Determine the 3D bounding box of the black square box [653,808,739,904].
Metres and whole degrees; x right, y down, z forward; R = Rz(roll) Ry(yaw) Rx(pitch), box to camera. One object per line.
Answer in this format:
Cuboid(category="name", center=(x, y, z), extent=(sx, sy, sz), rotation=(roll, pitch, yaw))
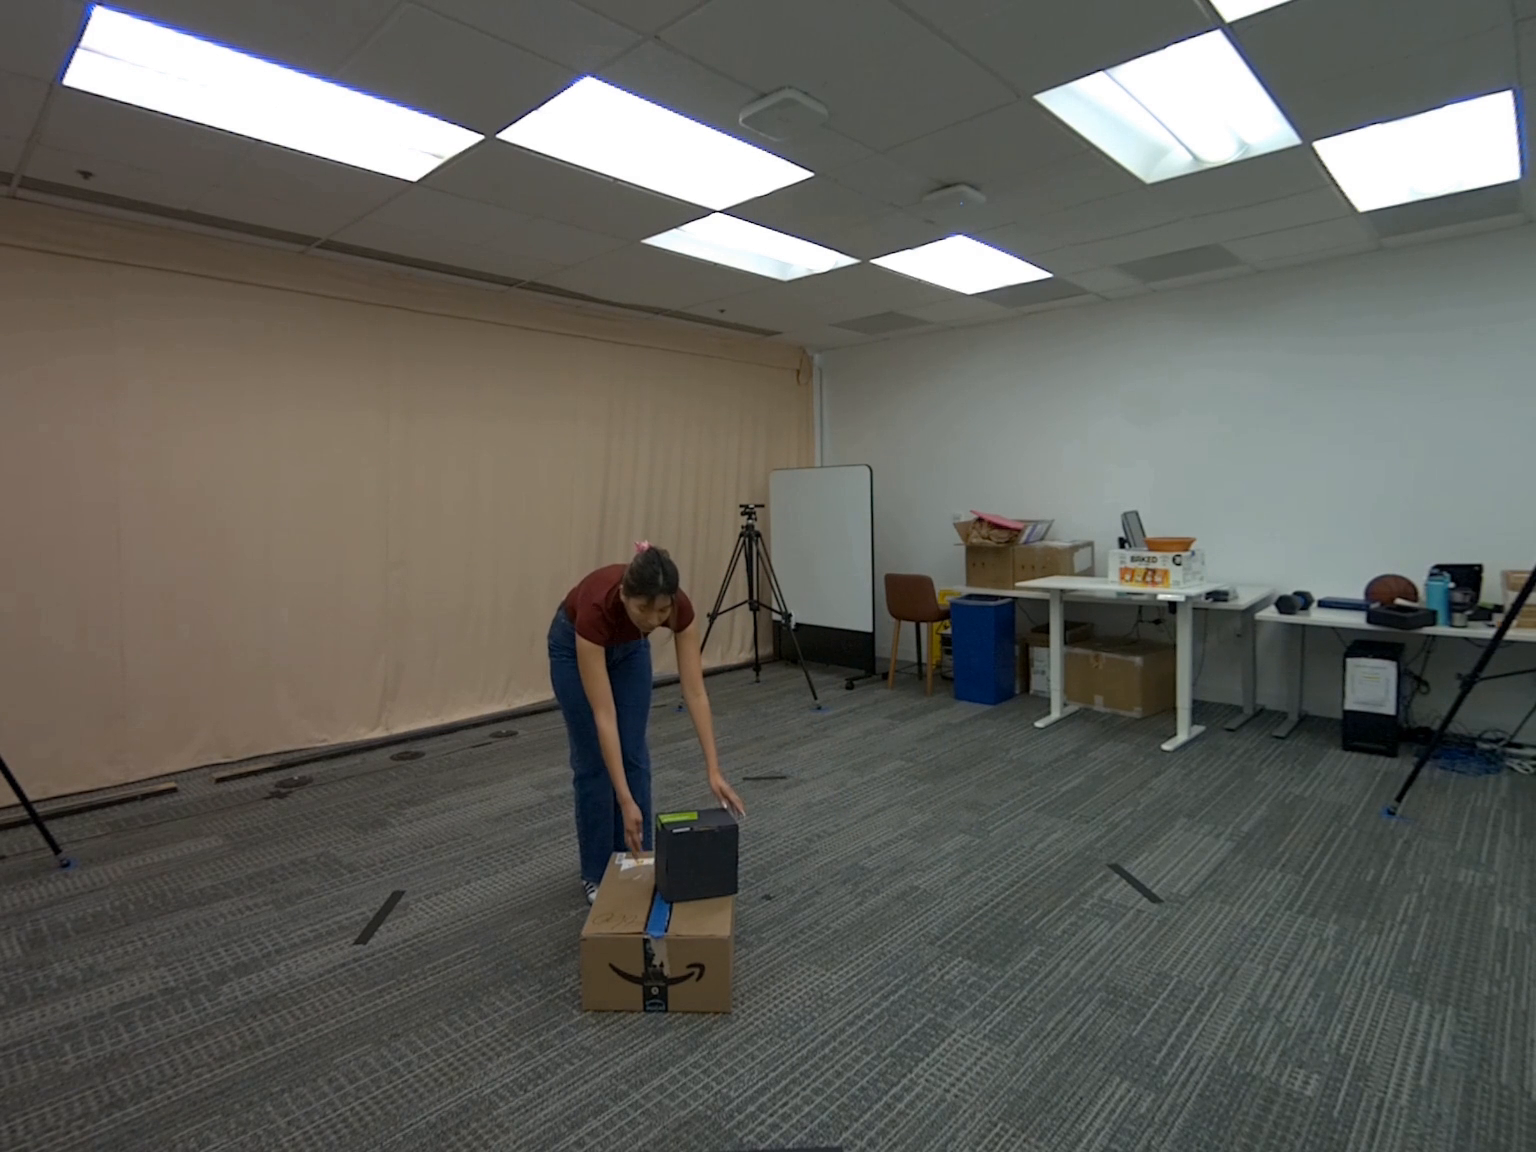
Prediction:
Cuboid(category="black square box", center=(-0.221, 0.843, 2.589), extent=(0.224, 0.216, 0.159), rotation=(0, 4, -16))
